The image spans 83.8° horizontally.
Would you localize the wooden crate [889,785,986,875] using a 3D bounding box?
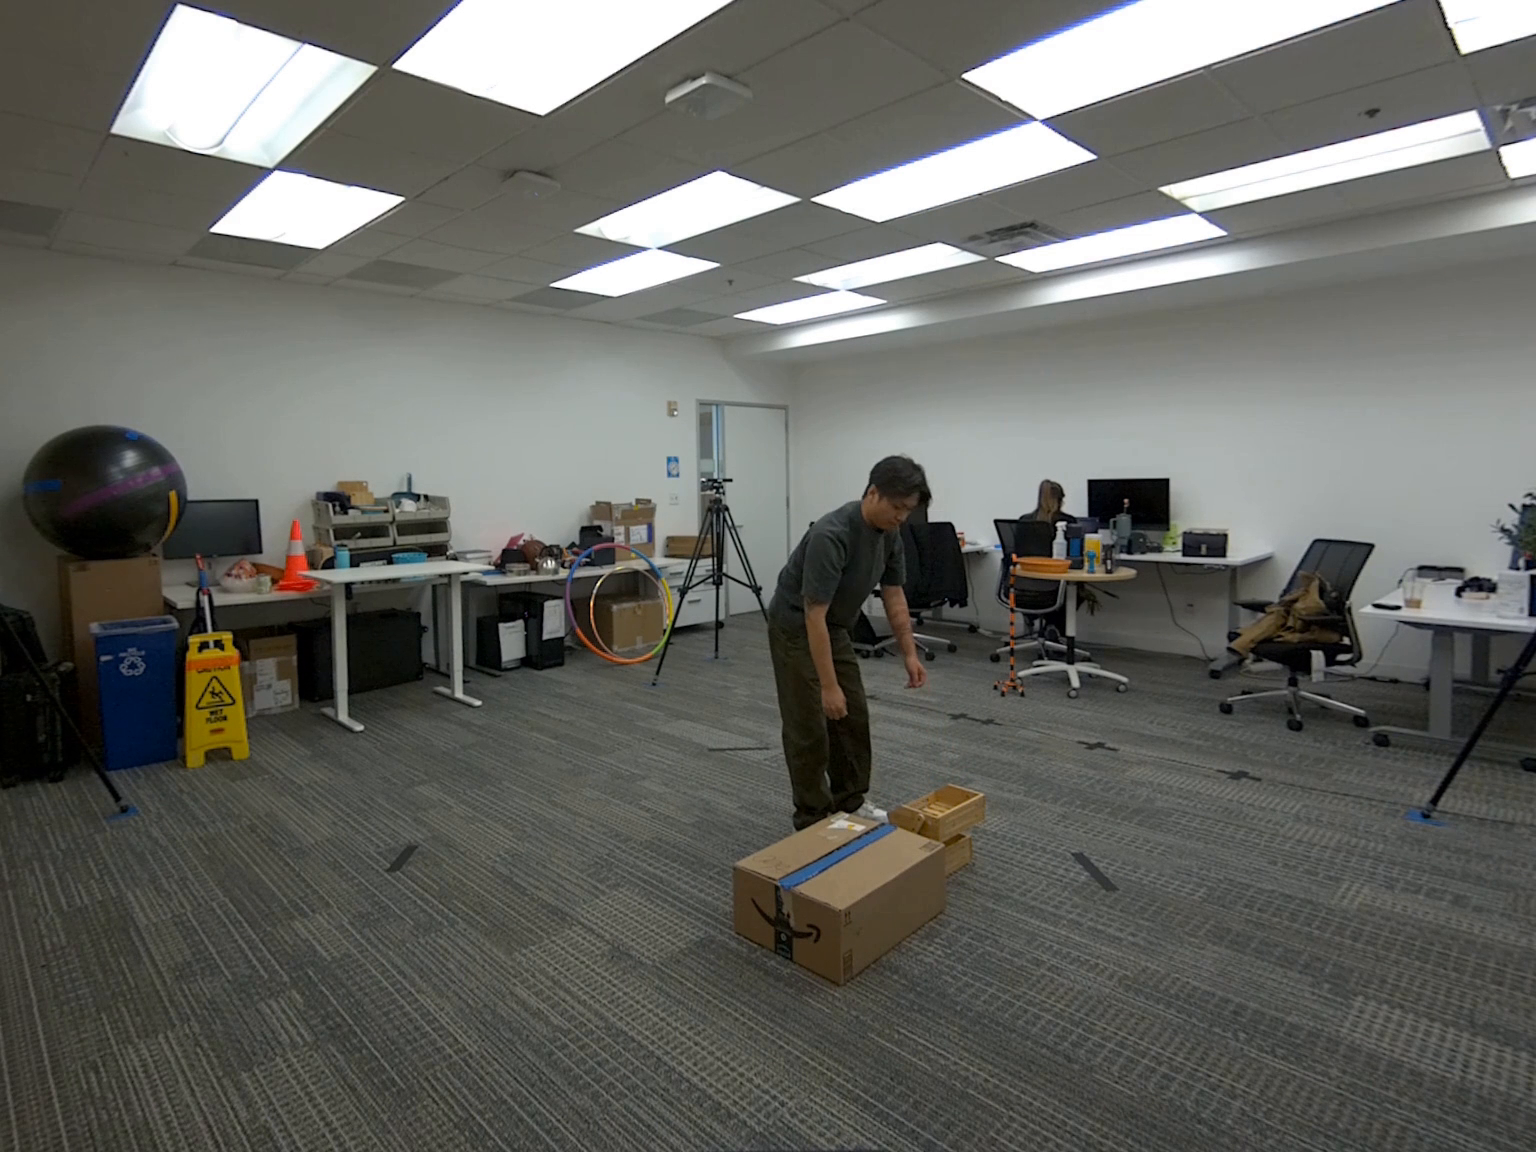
[{"bbox_3d":[0.561,0.903,3.063,0.316,0.272,0.311,-5,7,-44],"label":"wooden crate"}]
